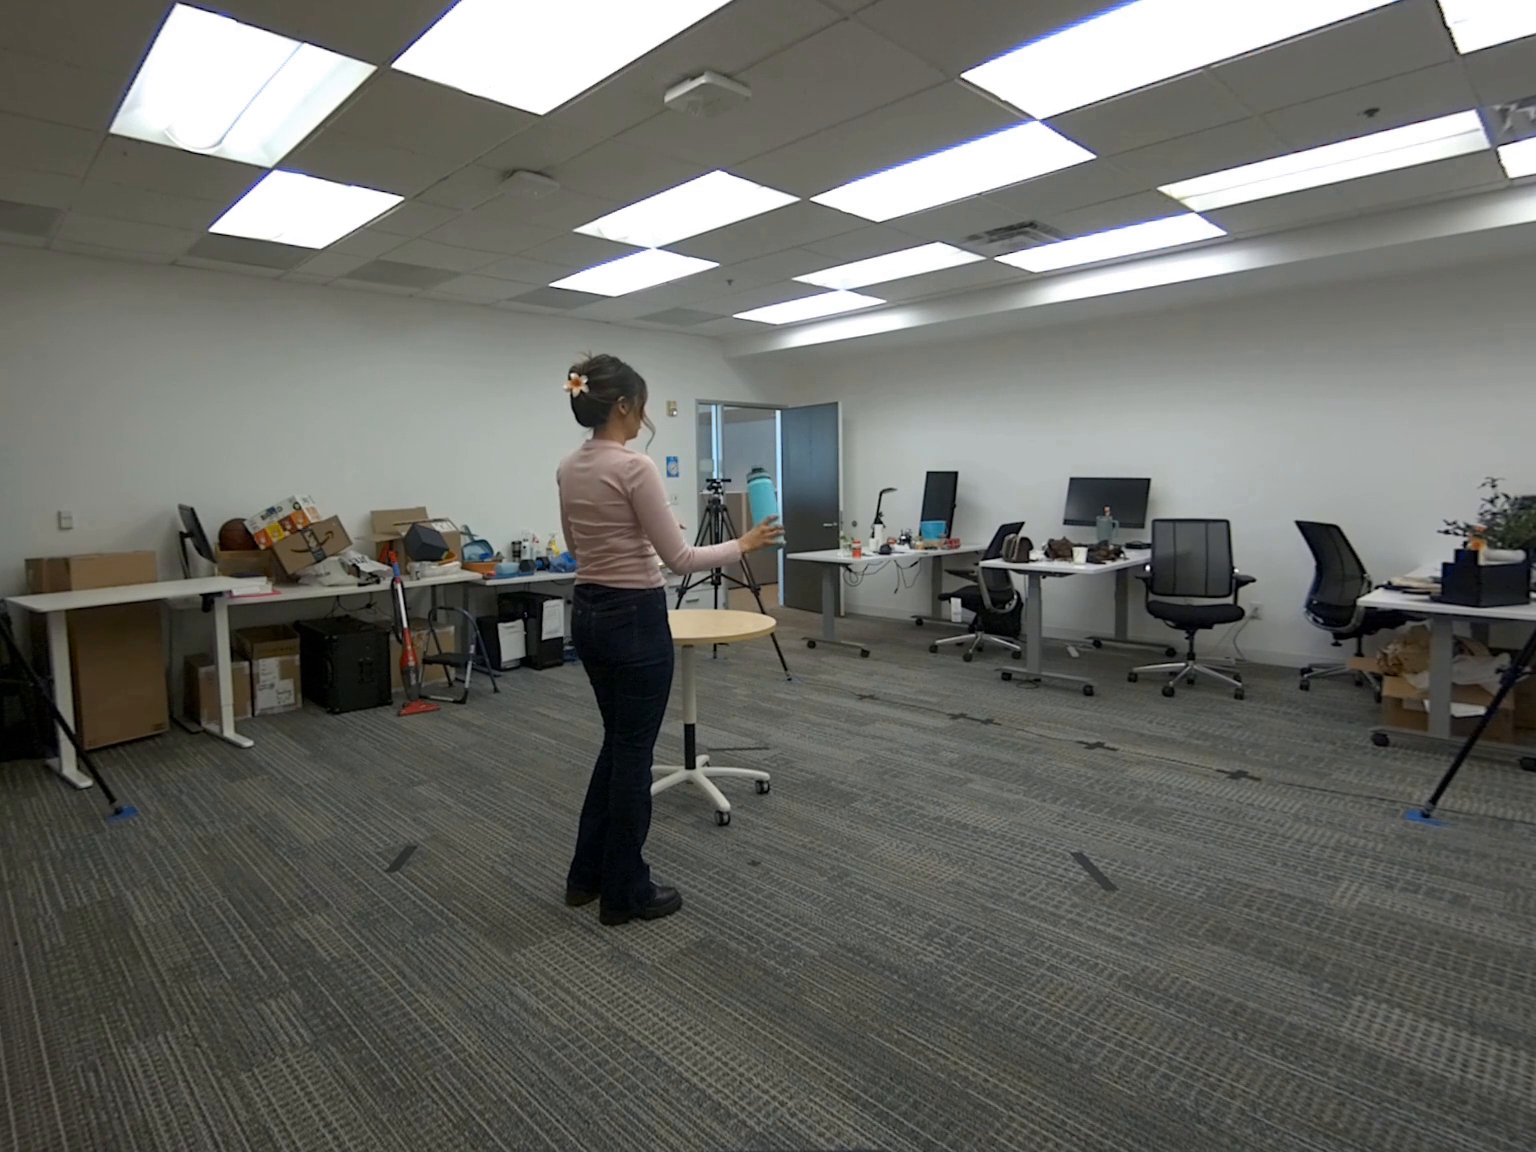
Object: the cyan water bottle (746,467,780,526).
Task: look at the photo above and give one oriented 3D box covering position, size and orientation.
[{"bbox_3d":[-0.014,-0.228,2.794,0.092,0.289,0.091,-11,-17,-5],"label":"cyan water bottle"}]
